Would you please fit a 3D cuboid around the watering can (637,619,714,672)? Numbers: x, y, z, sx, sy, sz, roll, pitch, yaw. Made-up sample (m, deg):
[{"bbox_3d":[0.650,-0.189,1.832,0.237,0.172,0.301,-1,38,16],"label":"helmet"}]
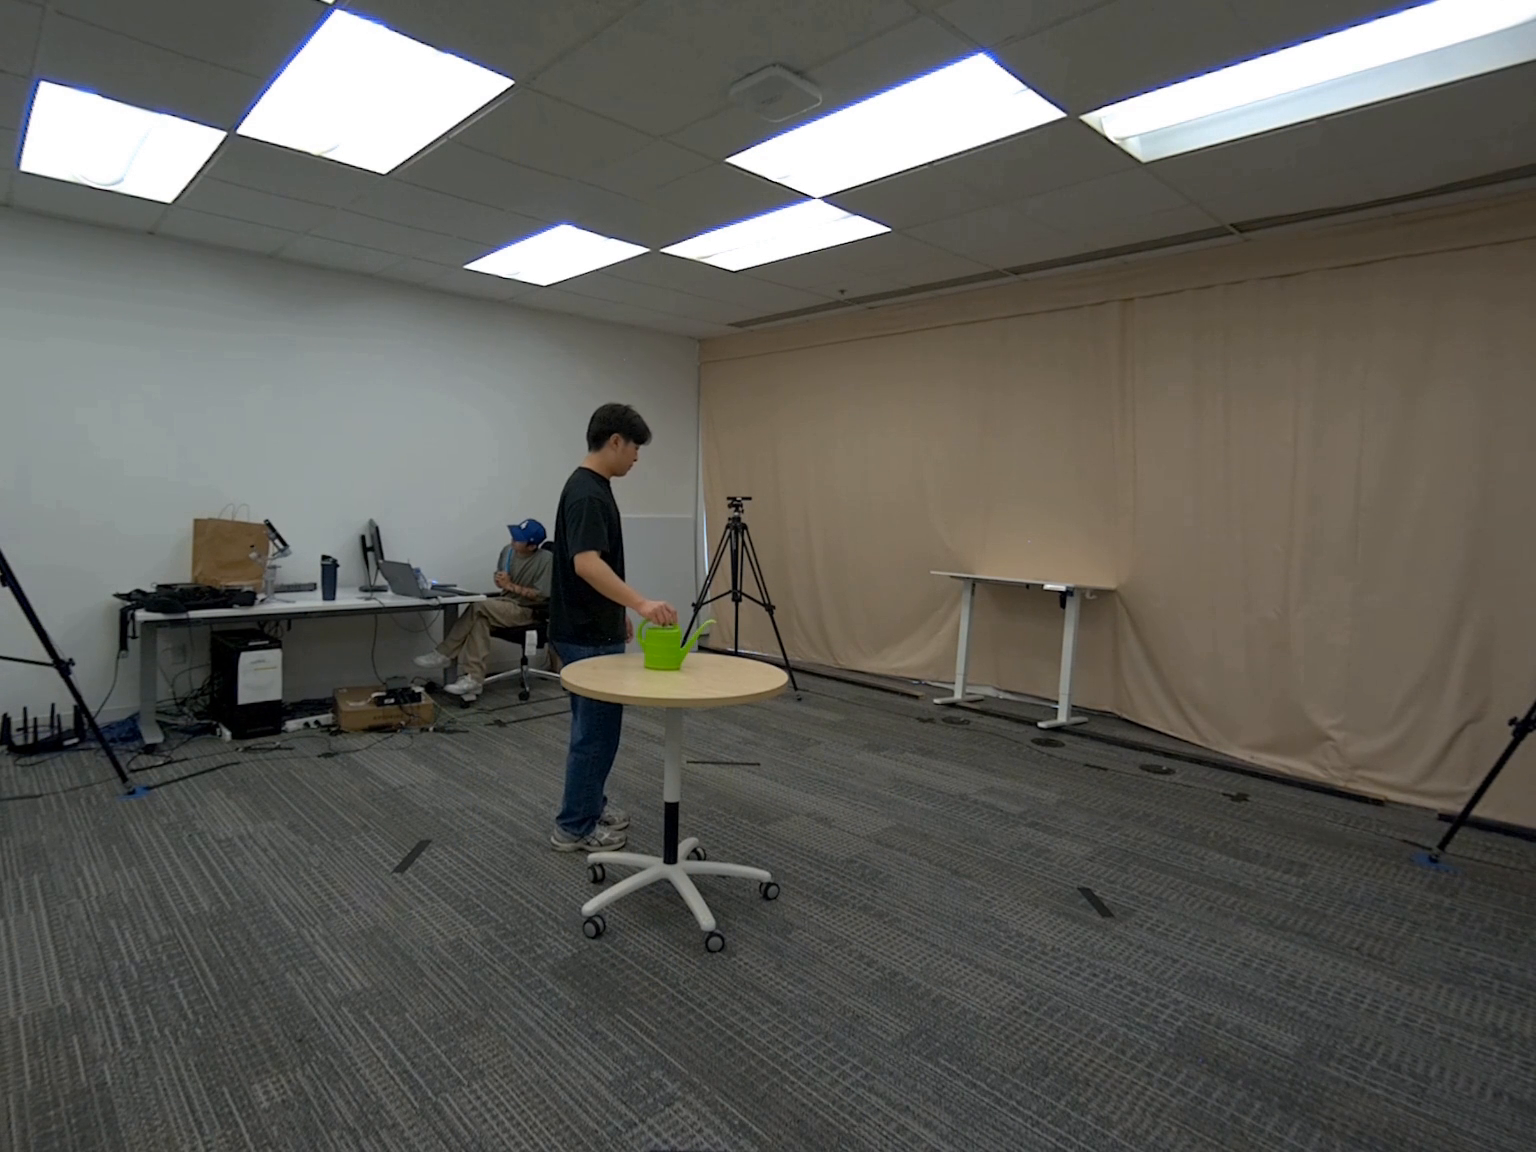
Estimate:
[{"bbox_3d":[-0.335,0.240,2.905,0.284,0.176,0.096,0,2,27],"label":"watering can"}]
